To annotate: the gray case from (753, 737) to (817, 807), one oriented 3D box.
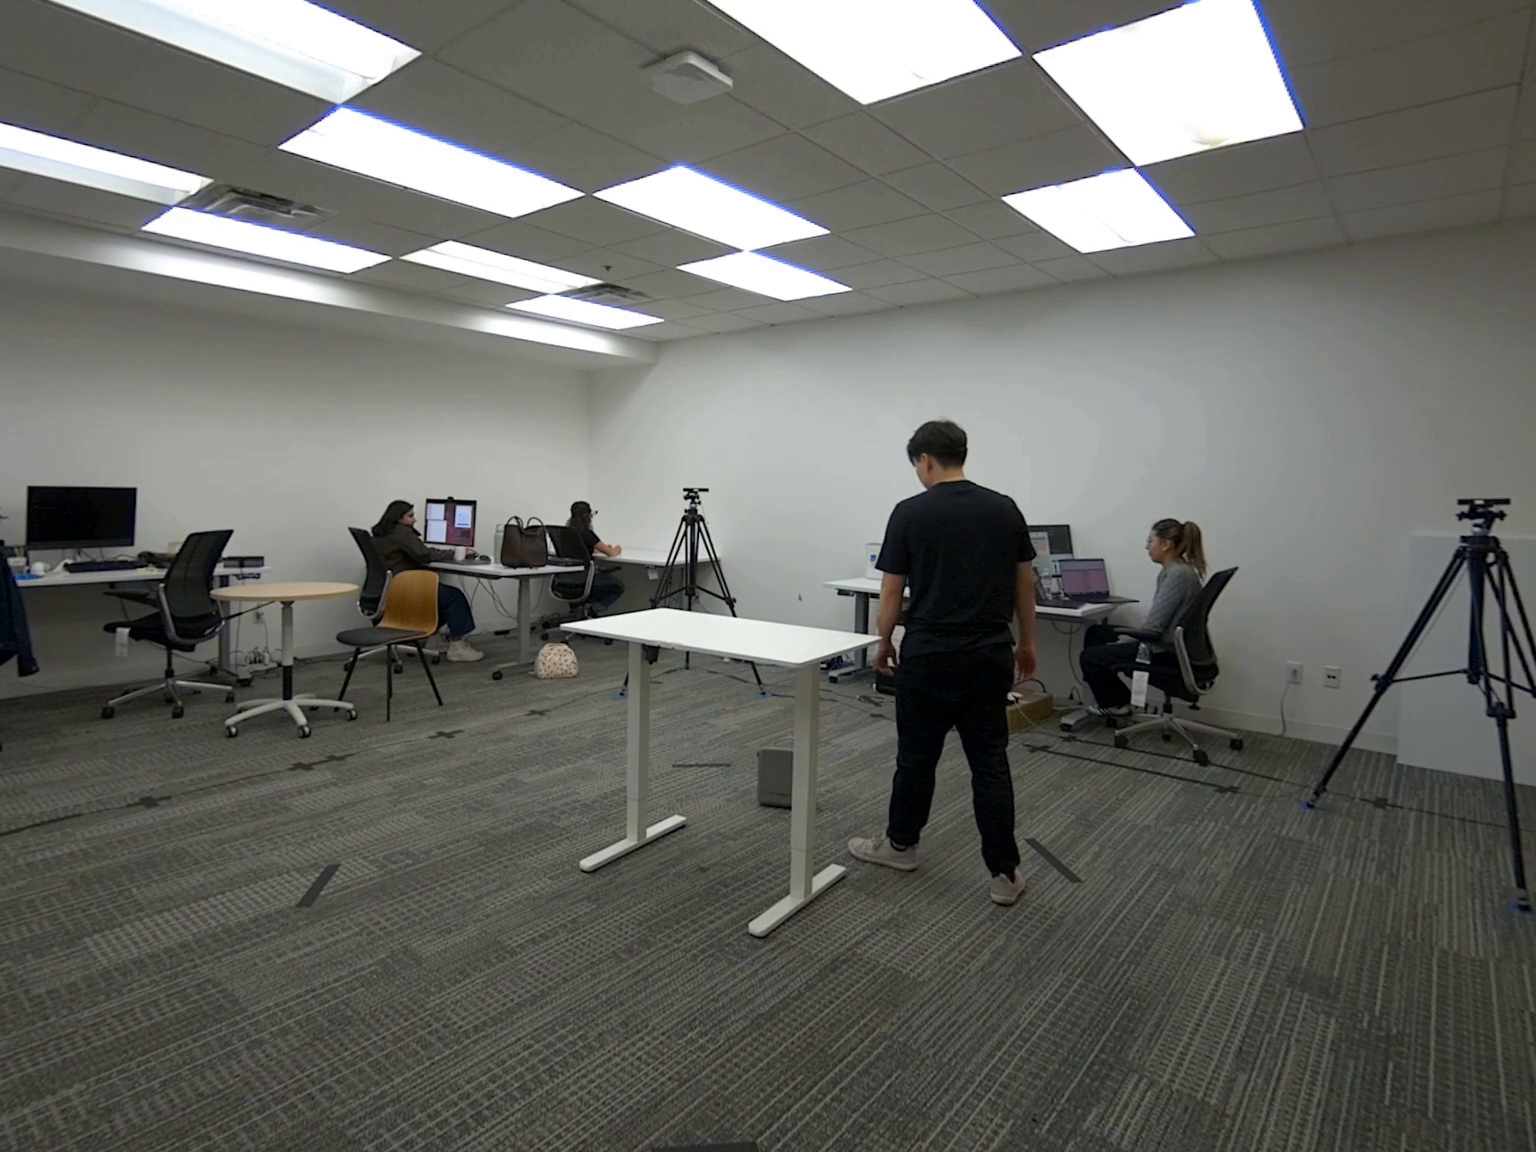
[{"bbox_3d":[0.076,0.873,3.770,0.261,0.262,0.102,3,-6,13],"label":"gray case"}]
